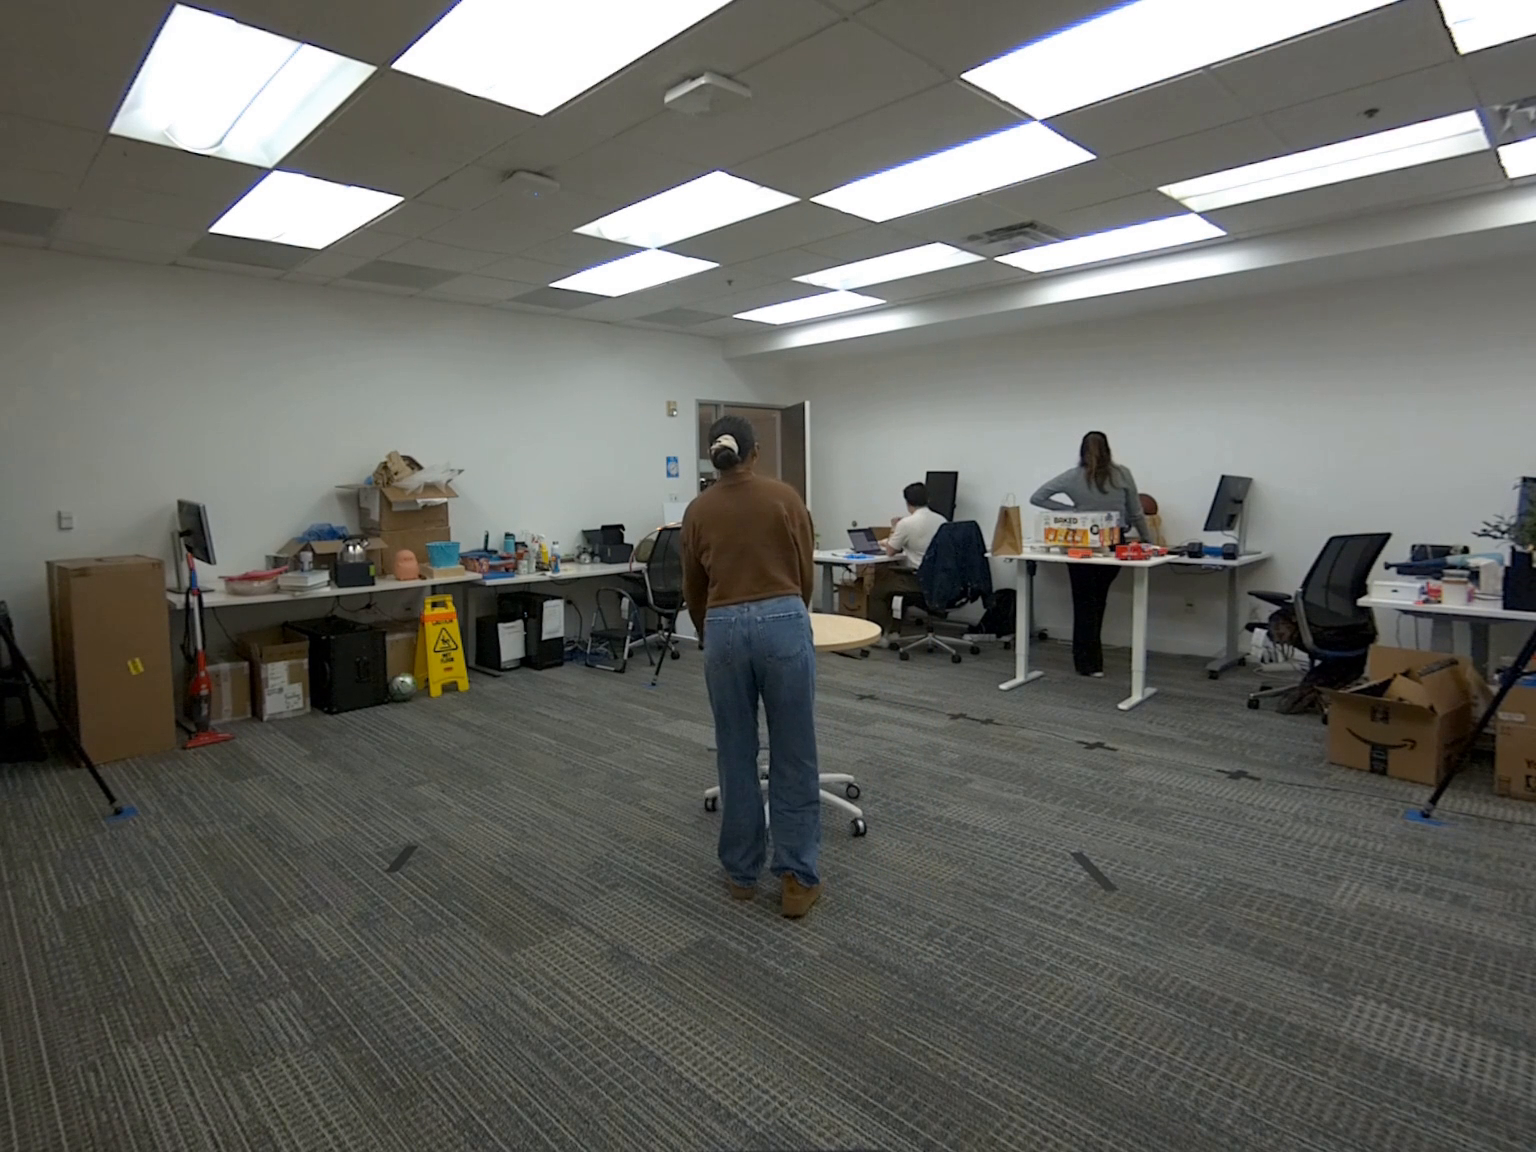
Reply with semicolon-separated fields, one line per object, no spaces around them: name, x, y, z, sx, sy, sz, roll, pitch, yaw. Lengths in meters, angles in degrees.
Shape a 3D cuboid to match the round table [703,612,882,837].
round table;0.100;0.601;3.552;0.784;0.783;0.790;-1;6;-2
